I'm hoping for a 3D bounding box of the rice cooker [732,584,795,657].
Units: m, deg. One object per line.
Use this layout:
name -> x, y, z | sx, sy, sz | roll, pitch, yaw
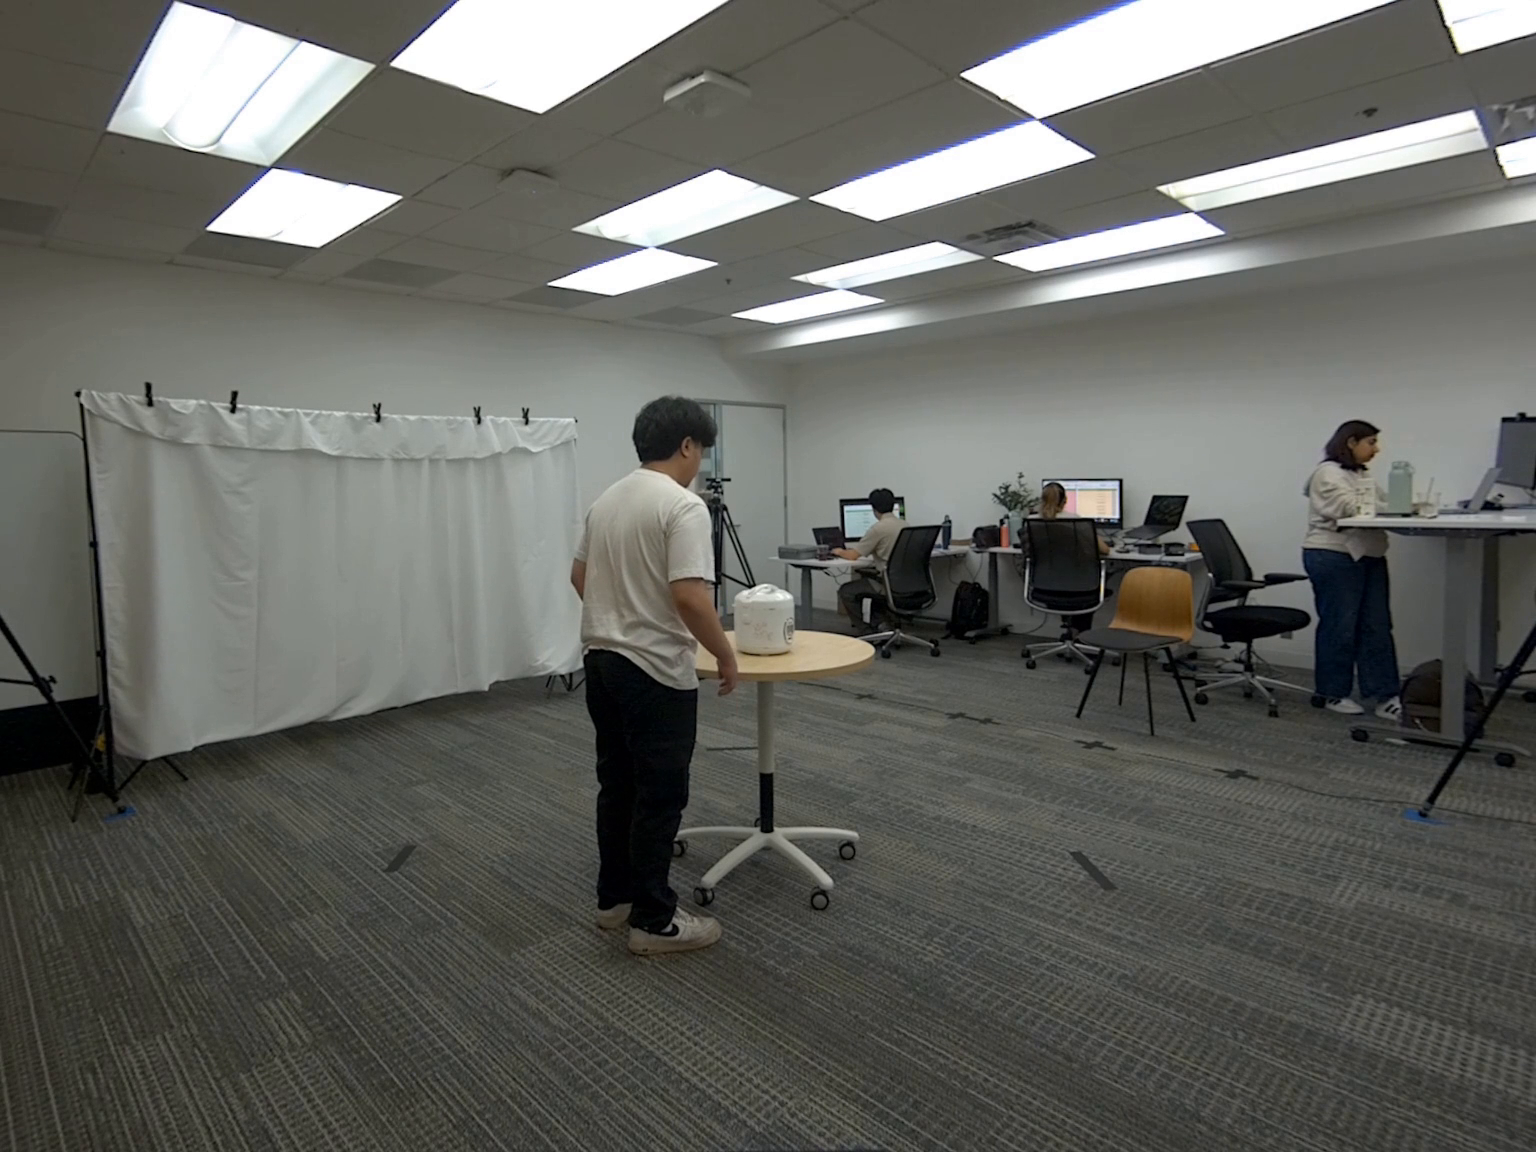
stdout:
rice cooker -> -0.009, 0.142, 2.957 | 0.224, 0.232, 0.215 | 2, 5, 37
